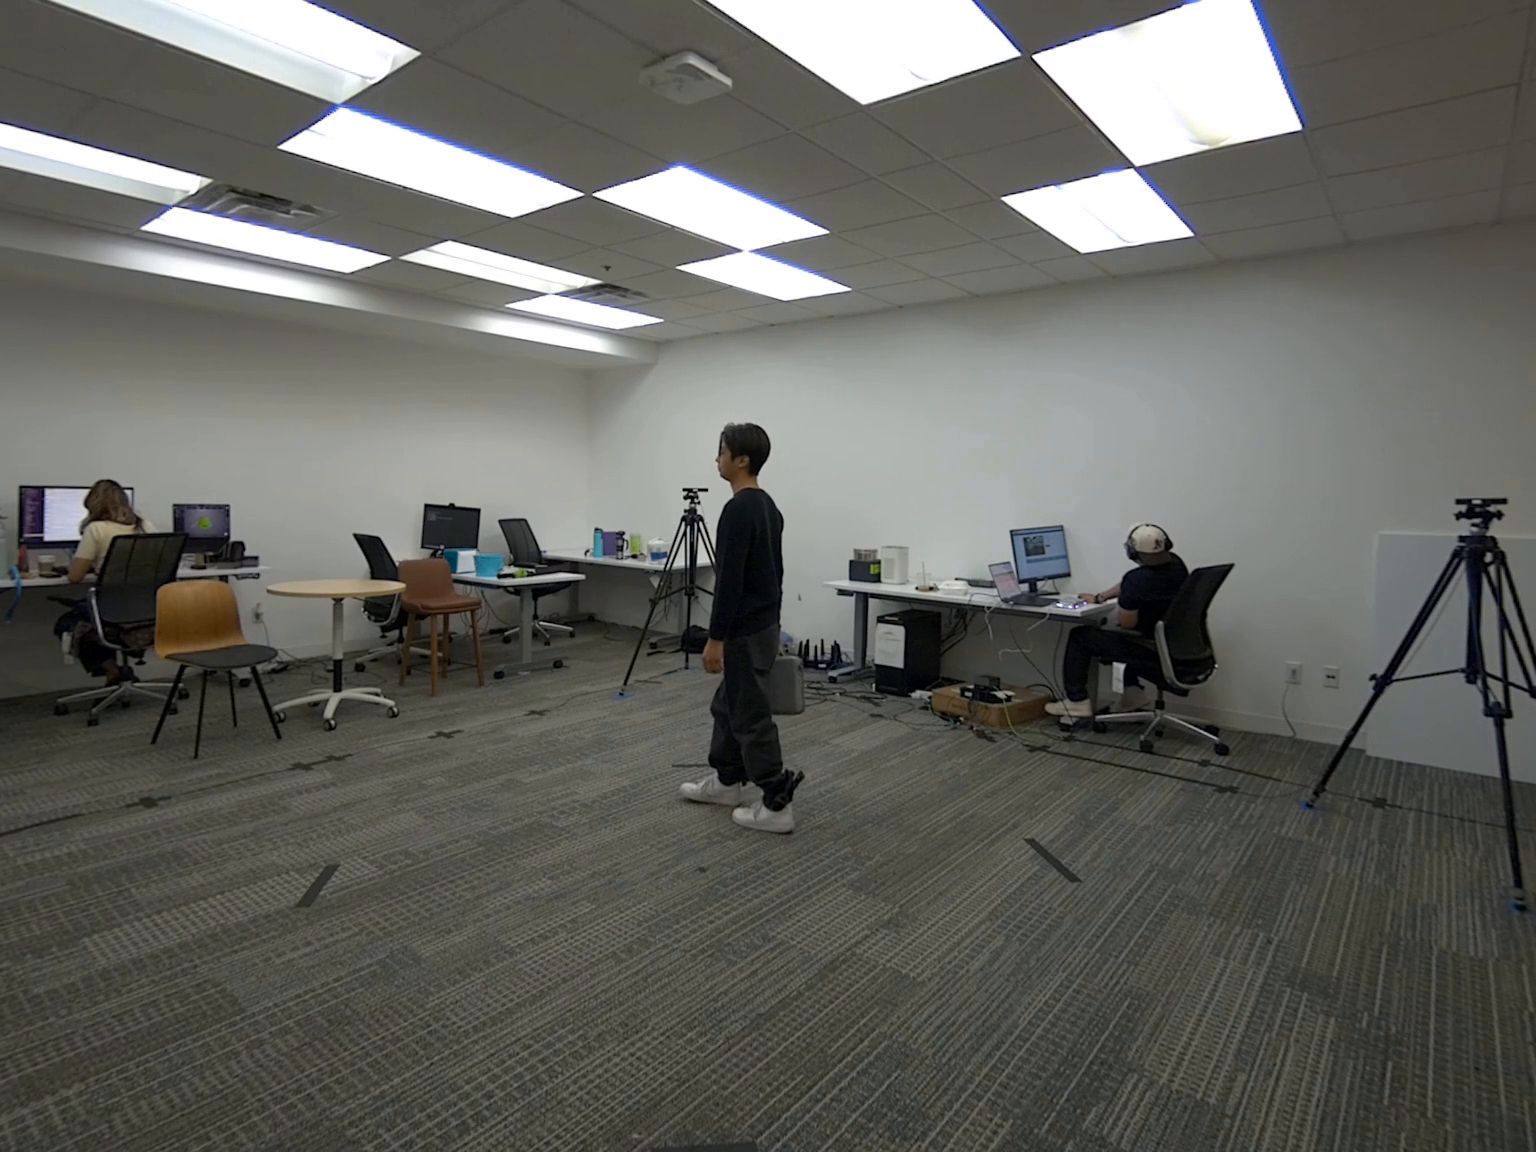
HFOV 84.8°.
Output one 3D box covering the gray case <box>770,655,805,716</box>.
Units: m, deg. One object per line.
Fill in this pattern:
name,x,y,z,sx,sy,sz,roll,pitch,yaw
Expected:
gray case,0.020,0.483,3.813,0.262,0.263,0.101,-7,-10,22
